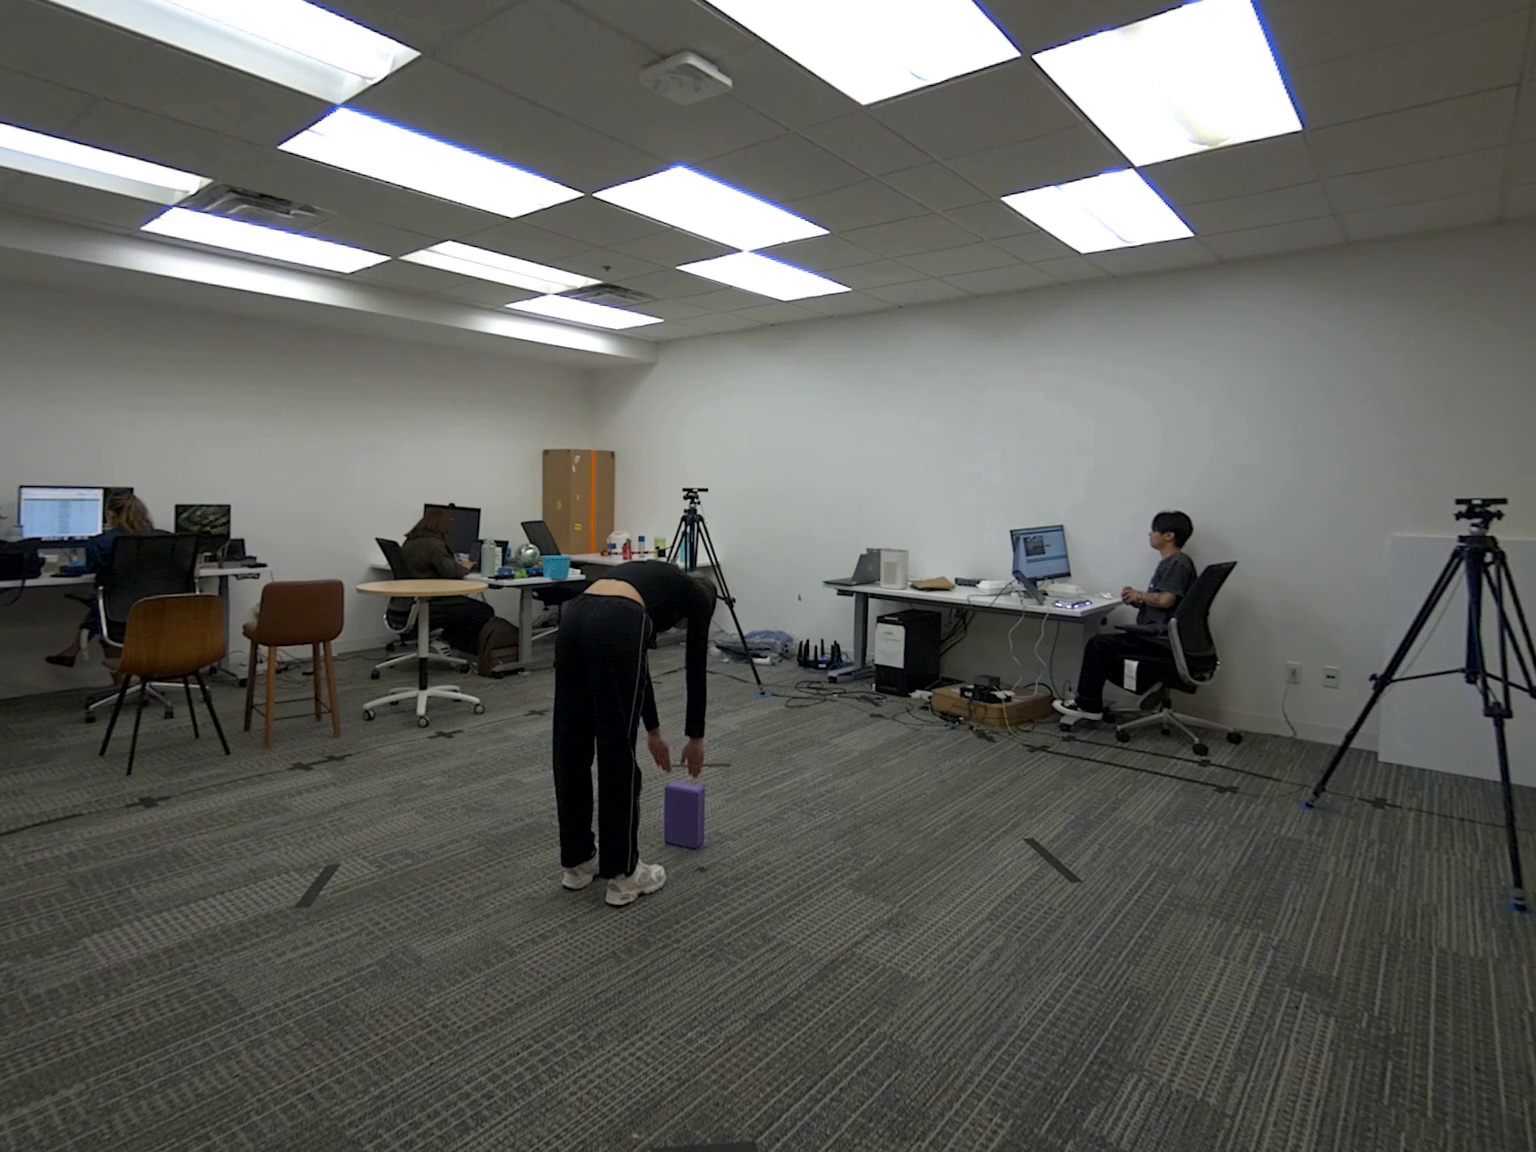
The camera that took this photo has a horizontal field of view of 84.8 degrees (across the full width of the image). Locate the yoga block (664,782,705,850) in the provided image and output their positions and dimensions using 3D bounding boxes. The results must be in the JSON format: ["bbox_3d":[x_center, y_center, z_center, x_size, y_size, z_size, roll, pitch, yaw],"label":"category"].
[{"bbox_3d":[-0.339,0.931,3.331,0.153,0.229,0.075,2,3,24],"label":"yoga block"}]
